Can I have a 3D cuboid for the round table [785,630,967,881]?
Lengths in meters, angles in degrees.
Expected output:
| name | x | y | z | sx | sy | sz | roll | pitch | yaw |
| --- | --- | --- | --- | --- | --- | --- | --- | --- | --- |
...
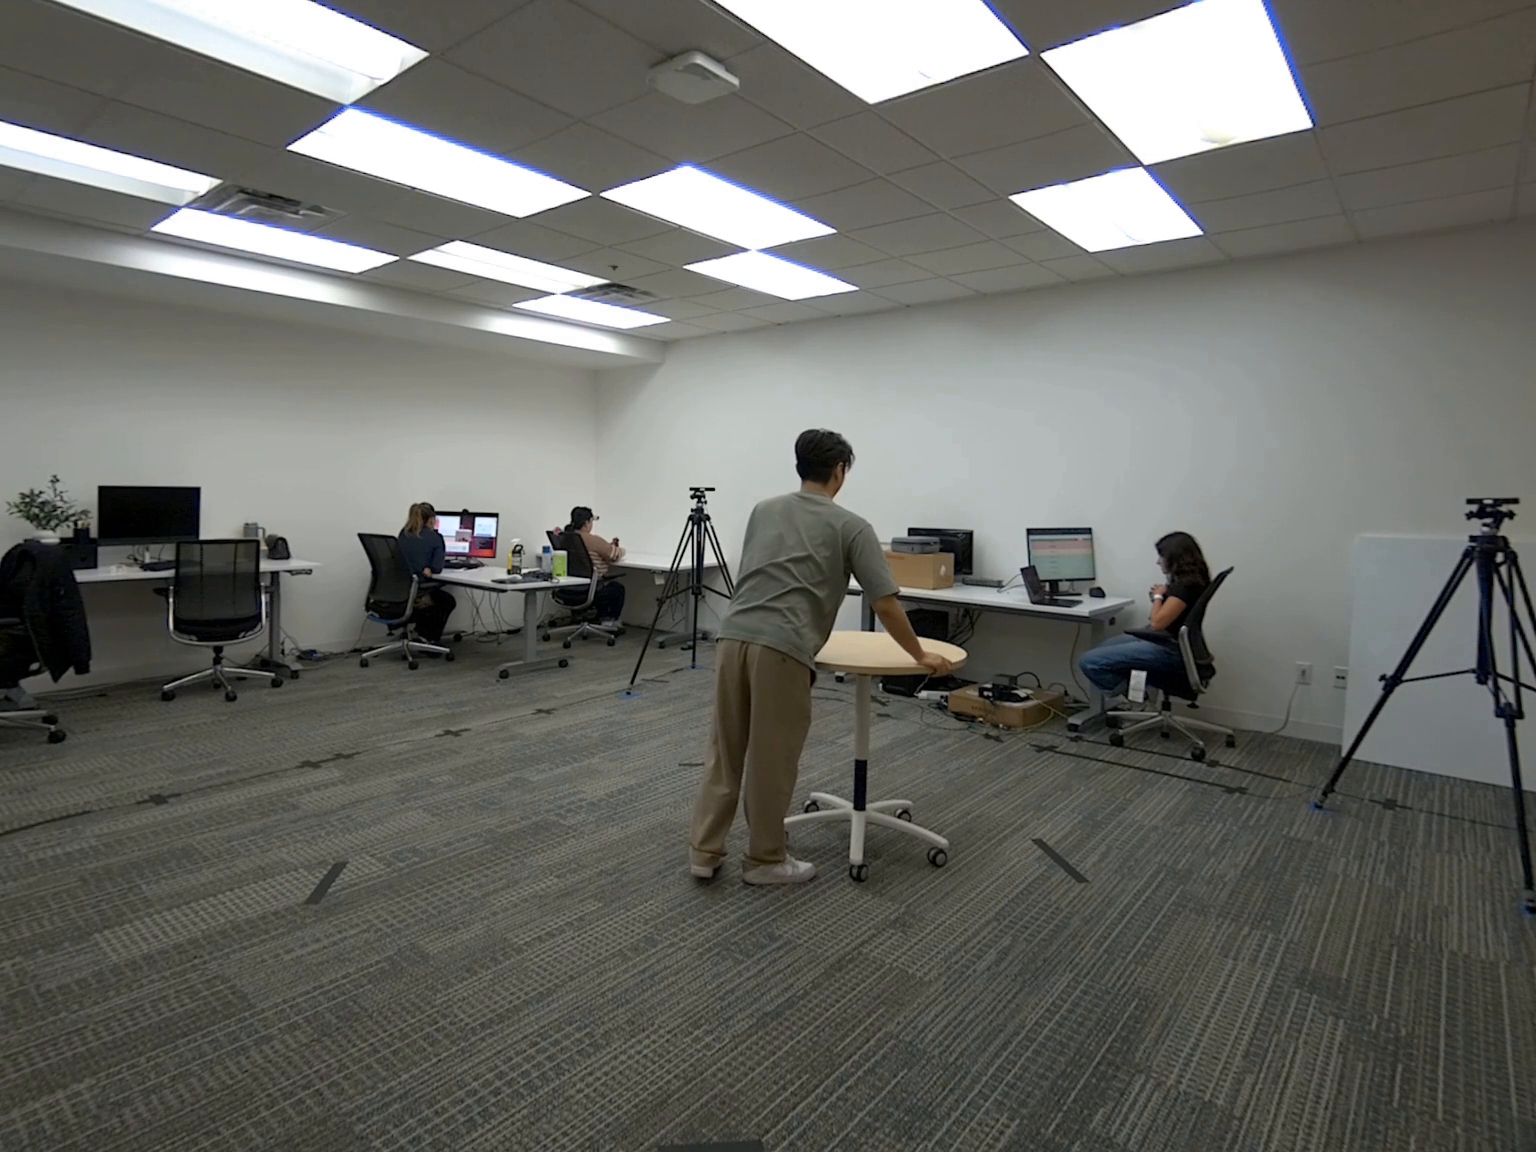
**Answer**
| name | x | y | z | sx | sy | sz | roll | pitch | yaw |
| --- | --- | --- | --- | --- | --- | --- | --- | --- | --- |
| round table | 0.370 | 0.663 | 3.331 | 0.784 | 0.784 | 0.789 | 1 | 4 | -2 |
